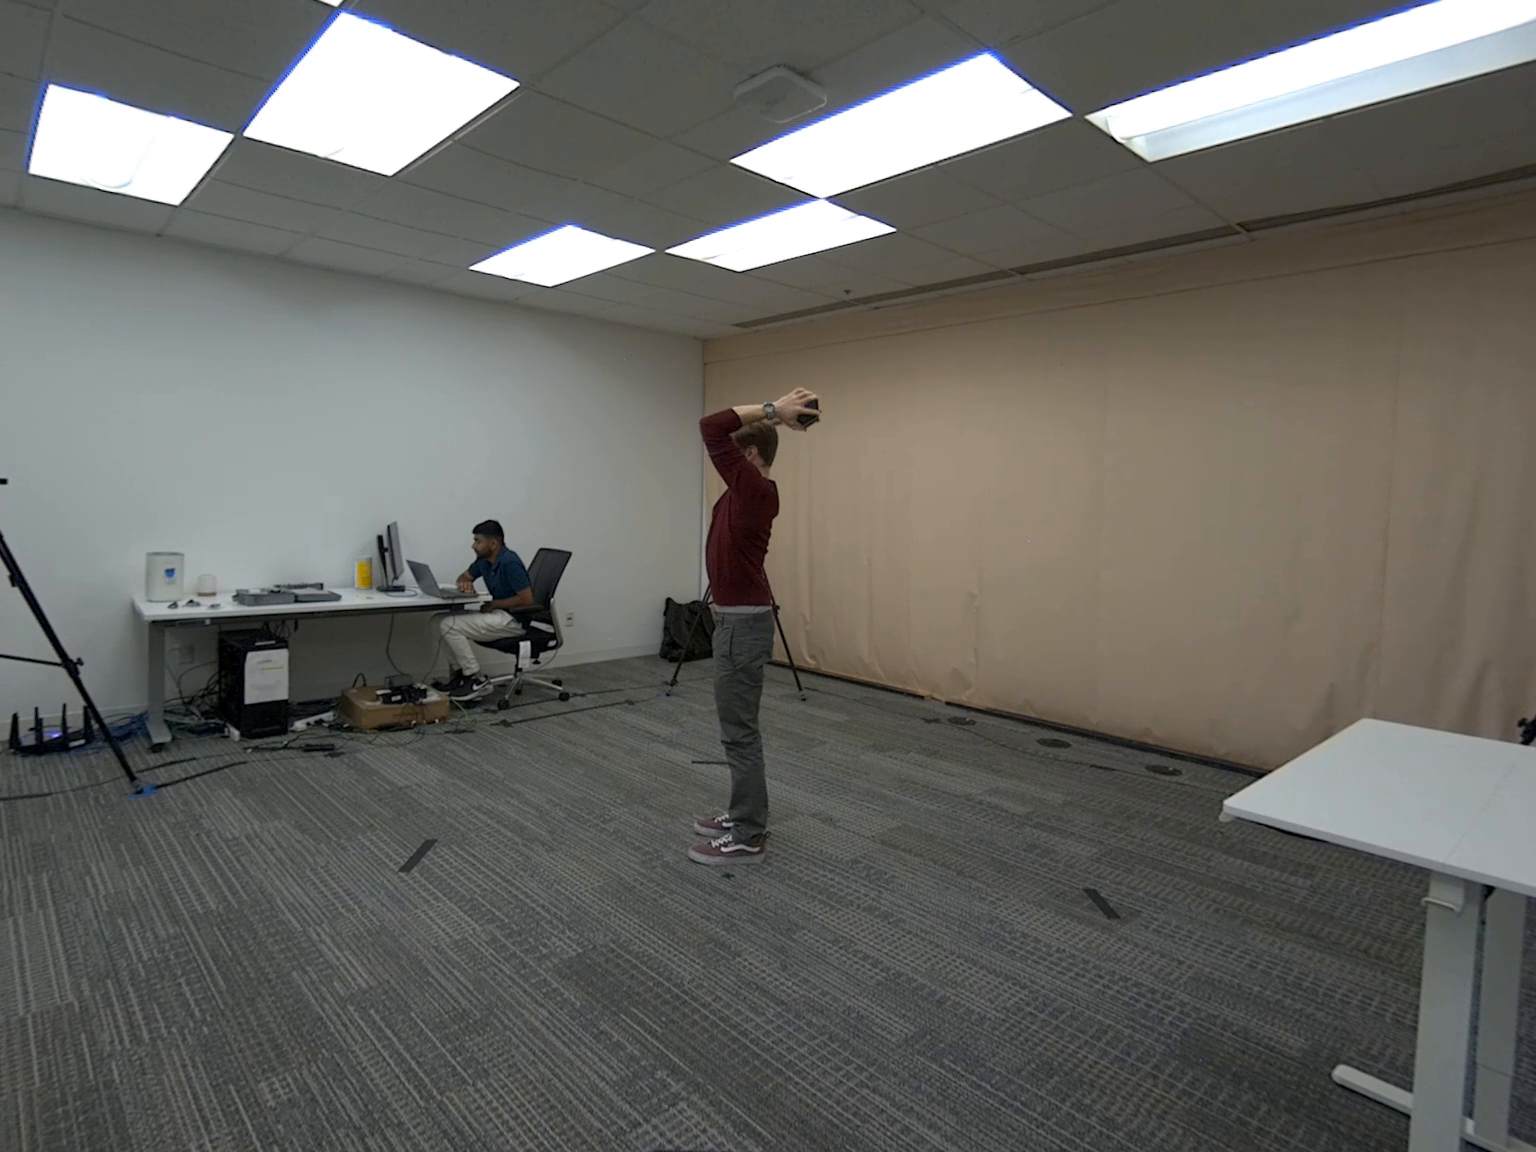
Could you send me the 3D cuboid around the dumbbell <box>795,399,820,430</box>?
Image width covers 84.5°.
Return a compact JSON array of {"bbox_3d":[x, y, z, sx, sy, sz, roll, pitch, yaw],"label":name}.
[{"bbox_3d":[0.106,-0.644,3.245,0.110,0.122,0.292,-2,6,12],"label":"dumbbell"}]
